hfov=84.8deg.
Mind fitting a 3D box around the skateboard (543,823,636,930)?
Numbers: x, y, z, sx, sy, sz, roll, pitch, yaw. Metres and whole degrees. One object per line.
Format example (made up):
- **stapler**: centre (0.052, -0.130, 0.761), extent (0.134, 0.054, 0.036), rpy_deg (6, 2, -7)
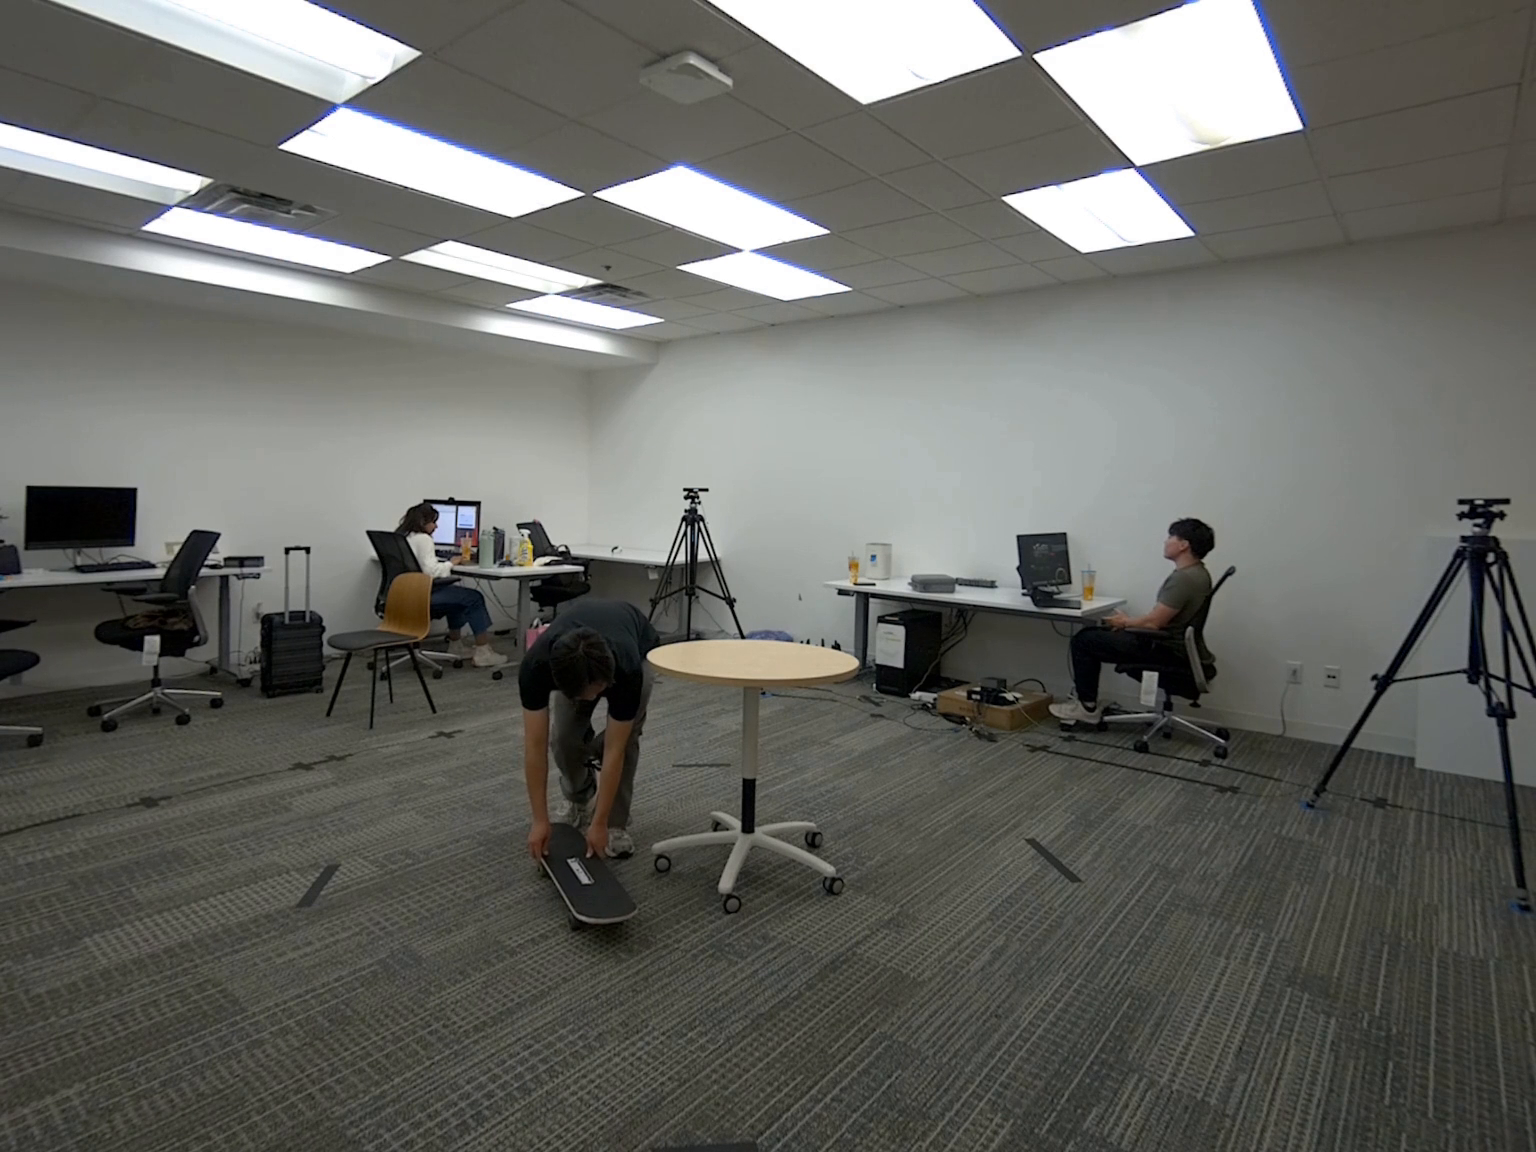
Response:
- **skateboard**: centre (-0.649, 1.023, 2.886), extent (0.189, 0.110, 0.808), rpy_deg (-1, 6, -27)
